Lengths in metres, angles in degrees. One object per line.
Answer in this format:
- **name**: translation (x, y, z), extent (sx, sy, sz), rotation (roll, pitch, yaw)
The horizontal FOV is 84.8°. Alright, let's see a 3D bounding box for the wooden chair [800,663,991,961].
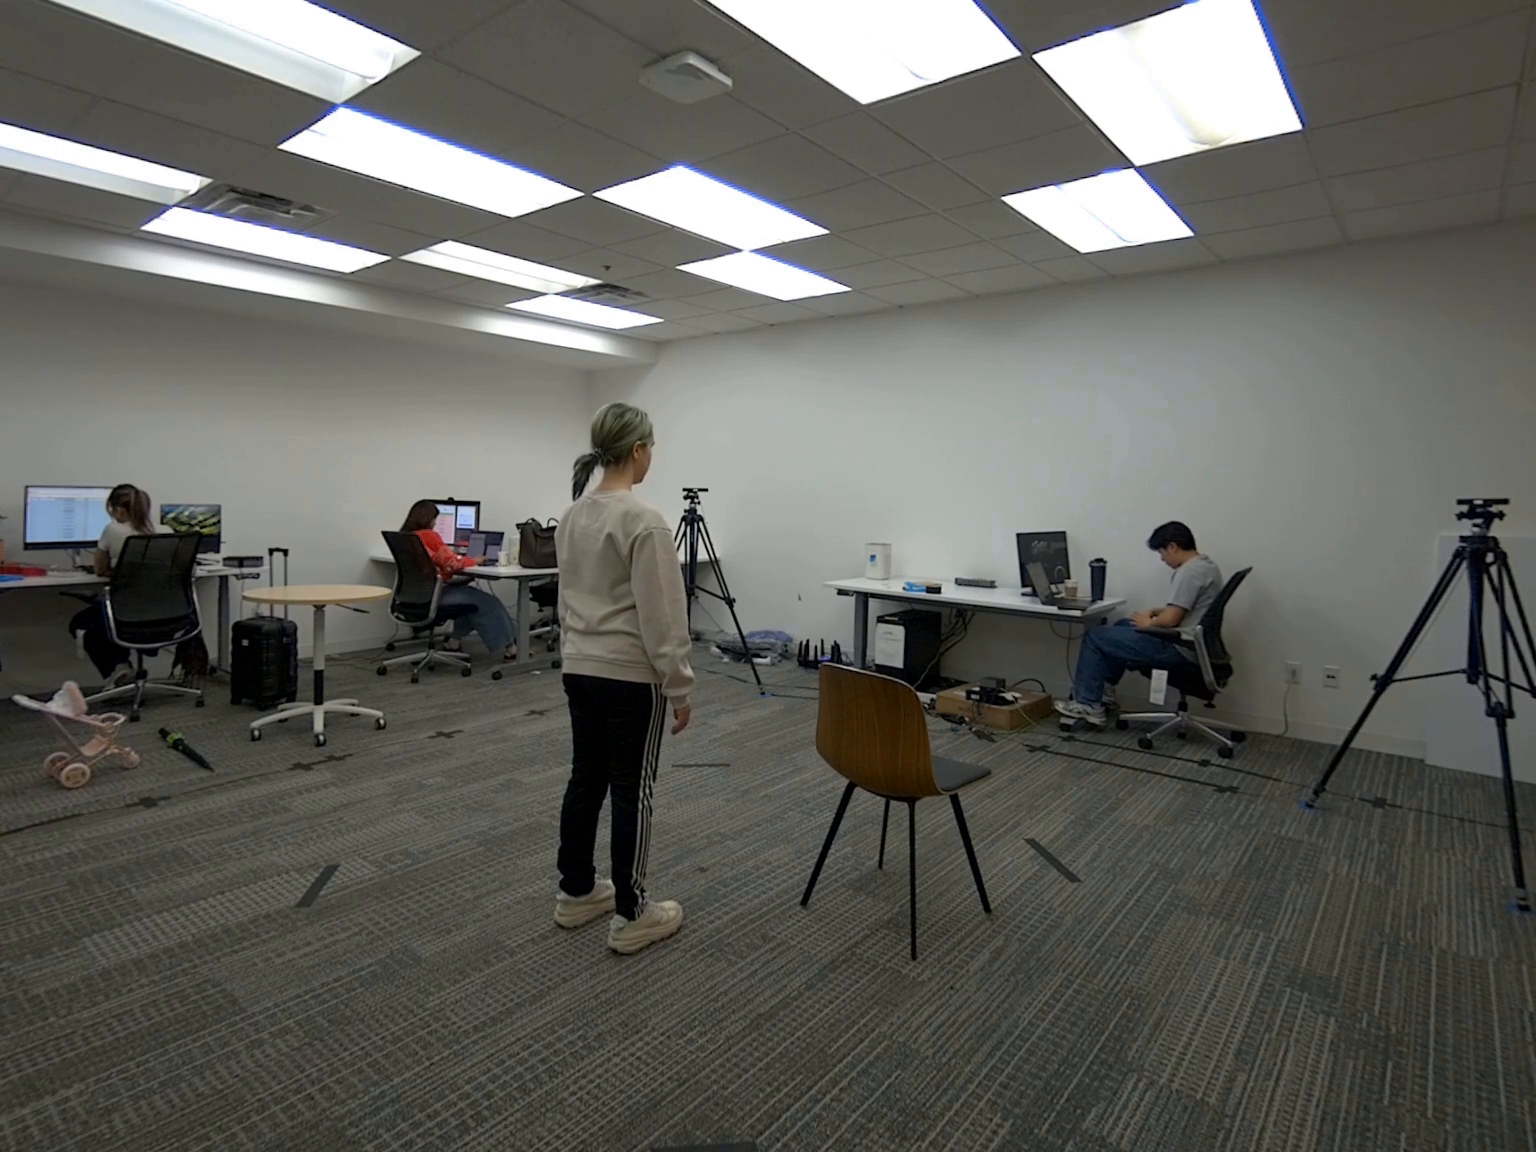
- **wooden chair**: translation (0.439, 0.689, 2.819), extent (0.494, 0.872, 0.509), rotation (5, 9, 44)
